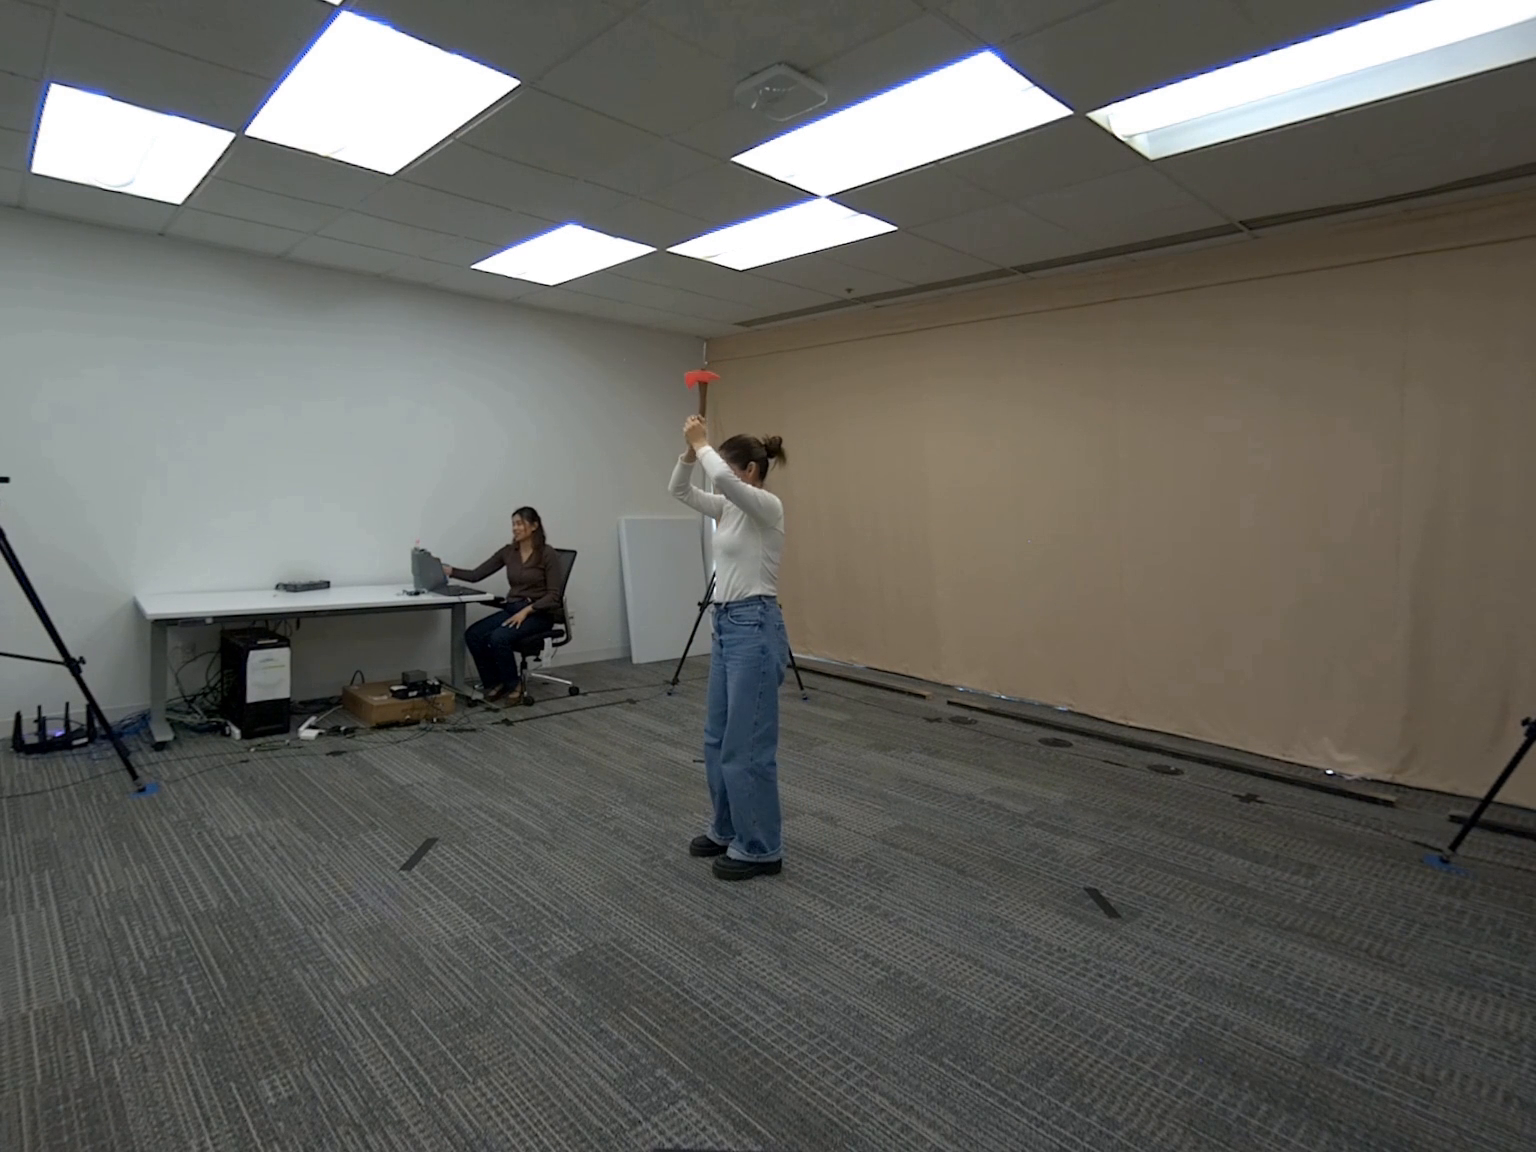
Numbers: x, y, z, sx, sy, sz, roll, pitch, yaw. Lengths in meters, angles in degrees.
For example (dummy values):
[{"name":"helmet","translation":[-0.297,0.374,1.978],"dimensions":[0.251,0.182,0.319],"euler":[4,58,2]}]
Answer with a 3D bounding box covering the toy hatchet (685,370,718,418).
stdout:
[{"name":"toy hatchet","translation":[-0.277,-0.646,3.113],"dimensions":[0.129,0.270,0.030],"euler":[20,-4,-17]}]
